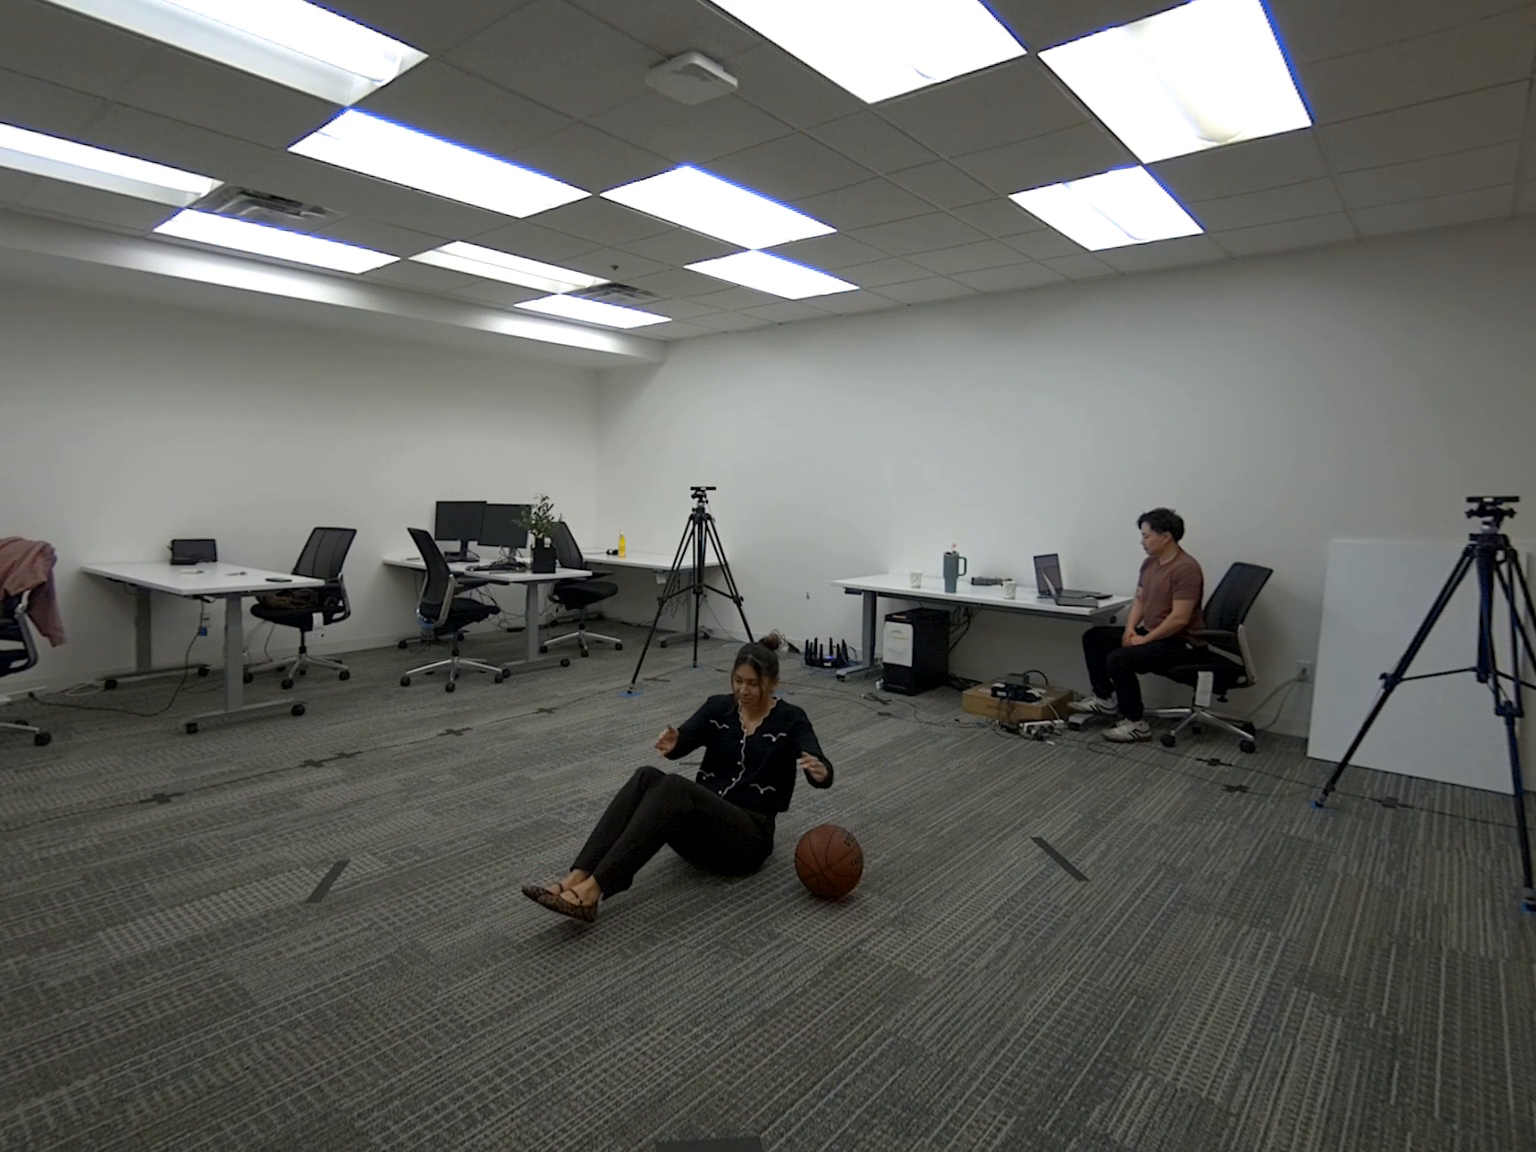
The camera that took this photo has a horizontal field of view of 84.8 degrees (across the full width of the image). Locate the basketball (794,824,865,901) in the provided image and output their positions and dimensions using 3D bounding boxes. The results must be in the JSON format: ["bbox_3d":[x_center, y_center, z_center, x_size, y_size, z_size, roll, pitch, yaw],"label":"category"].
[{"bbox_3d":[0.202,0.974,2.915,0.235,0.235,0.237,1,4,-2],"label":"basketball"}]
